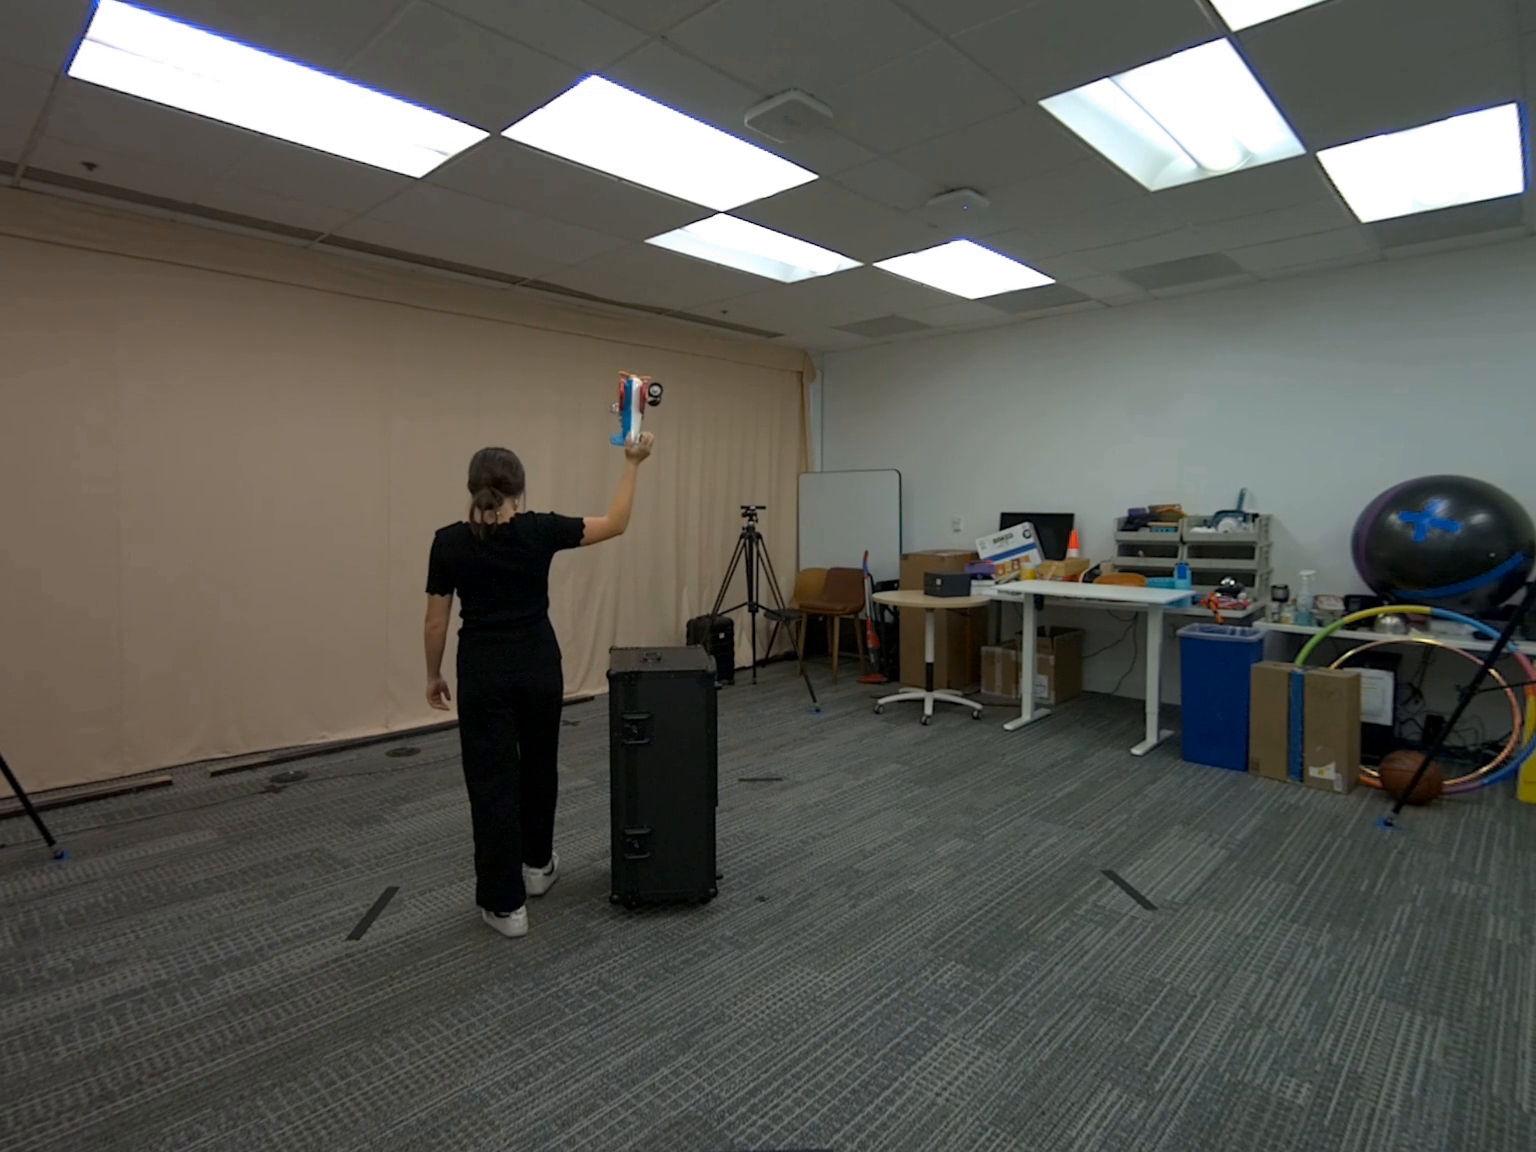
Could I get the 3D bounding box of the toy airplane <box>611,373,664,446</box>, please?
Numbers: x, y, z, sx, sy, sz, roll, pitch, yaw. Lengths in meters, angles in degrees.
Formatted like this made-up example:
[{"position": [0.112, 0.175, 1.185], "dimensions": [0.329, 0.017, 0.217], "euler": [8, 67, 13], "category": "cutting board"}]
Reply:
[{"position": [-0.453, -0.580, 2.940], "dimensions": [0.156, 0.262, 0.249], "euler": [16, -38, -5], "category": "toy airplane"}]
